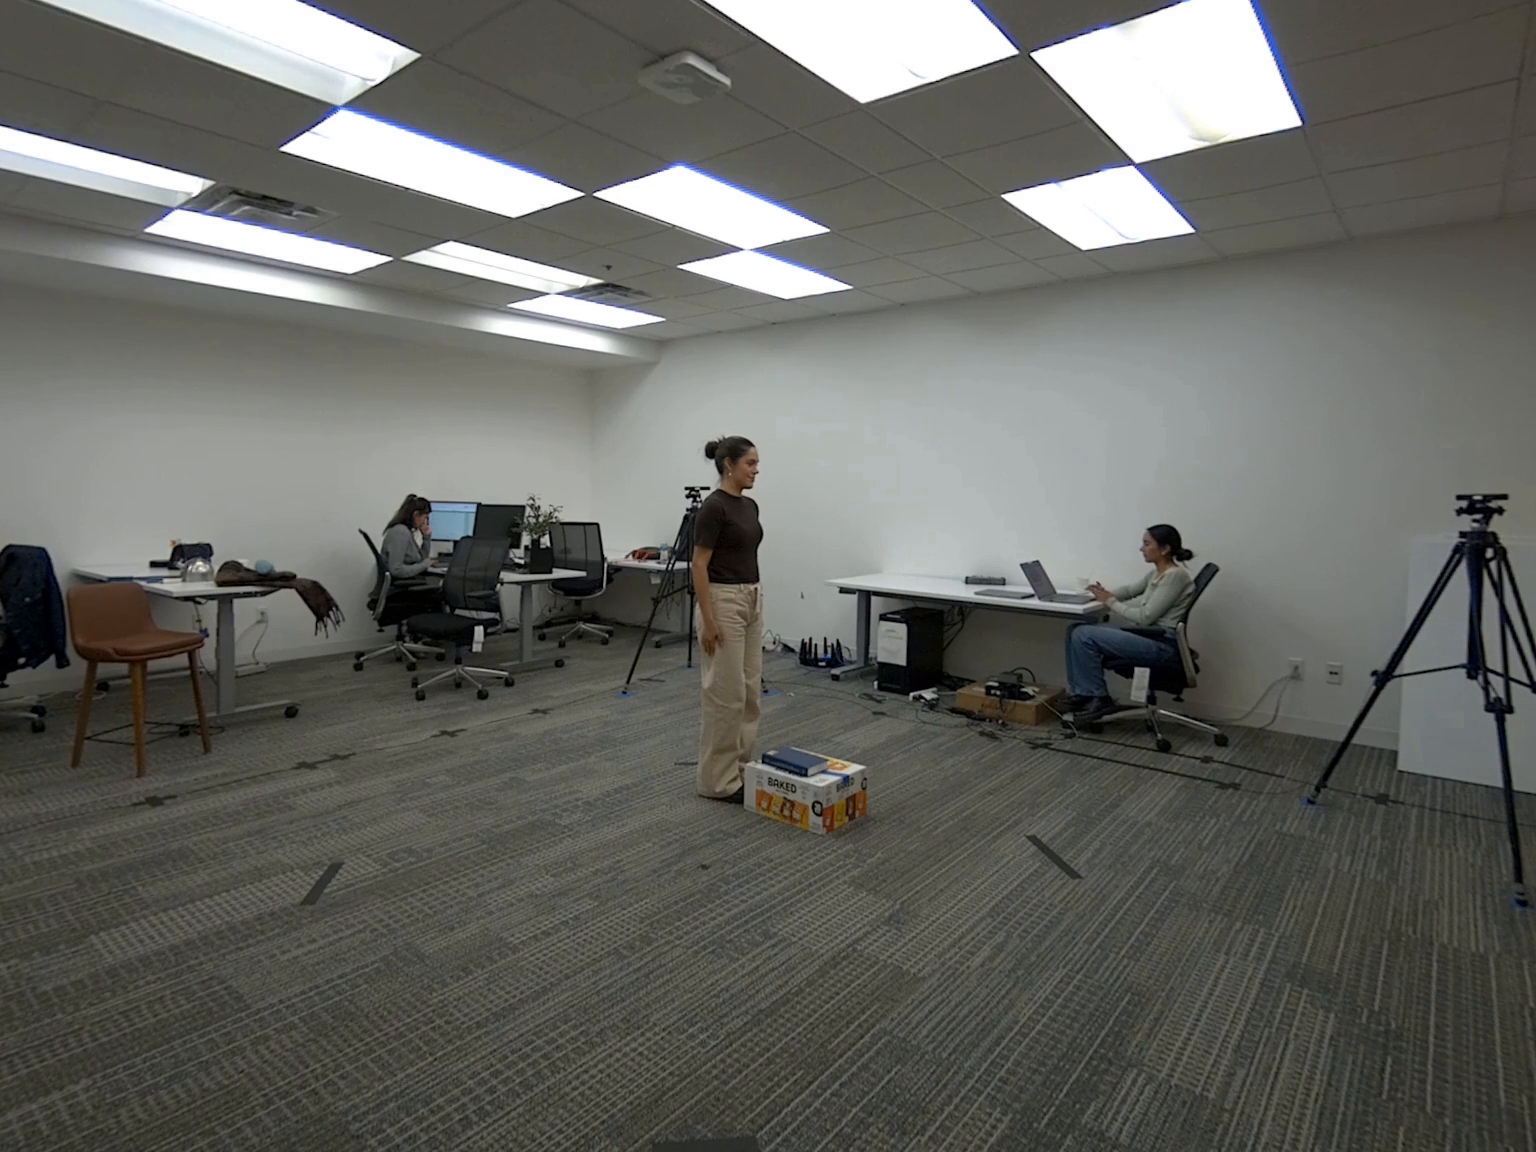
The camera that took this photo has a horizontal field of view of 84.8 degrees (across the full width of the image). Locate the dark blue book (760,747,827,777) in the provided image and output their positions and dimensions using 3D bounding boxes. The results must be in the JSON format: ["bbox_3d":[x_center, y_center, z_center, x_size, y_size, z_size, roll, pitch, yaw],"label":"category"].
[{"bbox_3d":[0.101,0.794,3.672,0.253,0.045,0.158,8,8,38],"label":"dark blue book"}]
